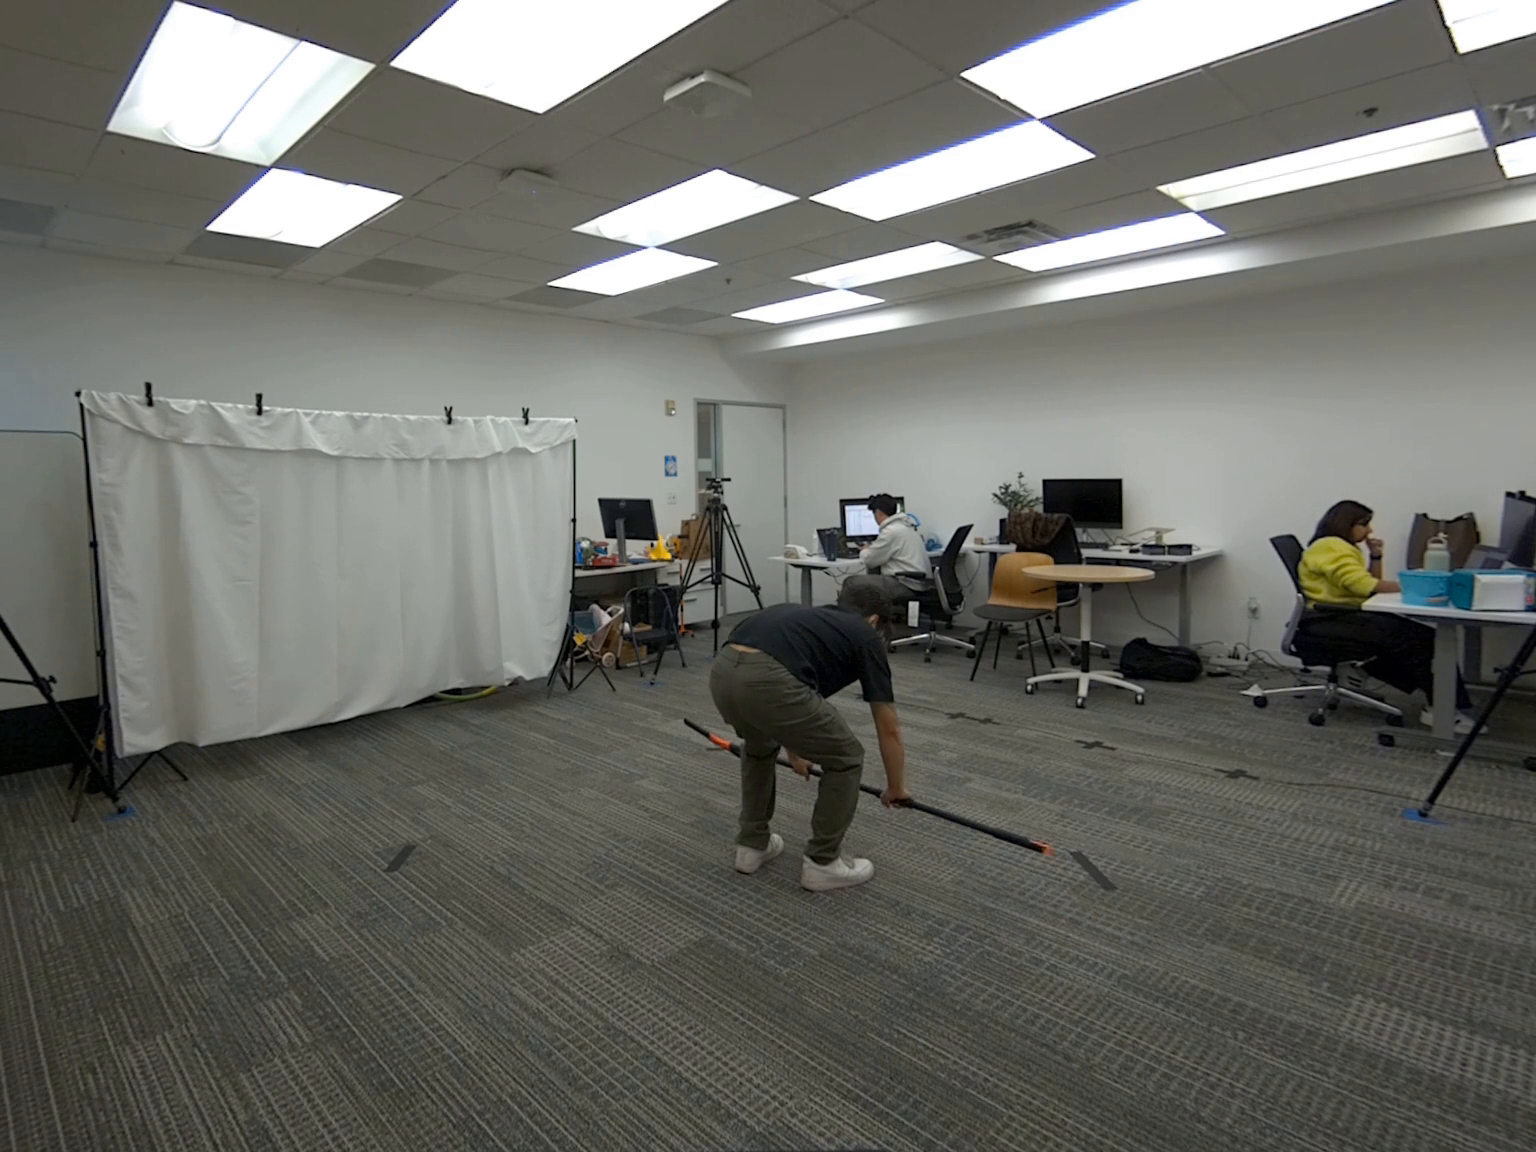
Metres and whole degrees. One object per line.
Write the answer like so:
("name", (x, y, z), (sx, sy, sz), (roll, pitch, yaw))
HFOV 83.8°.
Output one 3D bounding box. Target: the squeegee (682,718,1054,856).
("squeegee", (0.301, 0.775, 3.186), (1.587, 0.053, 0.421), (8, -25, 45))
